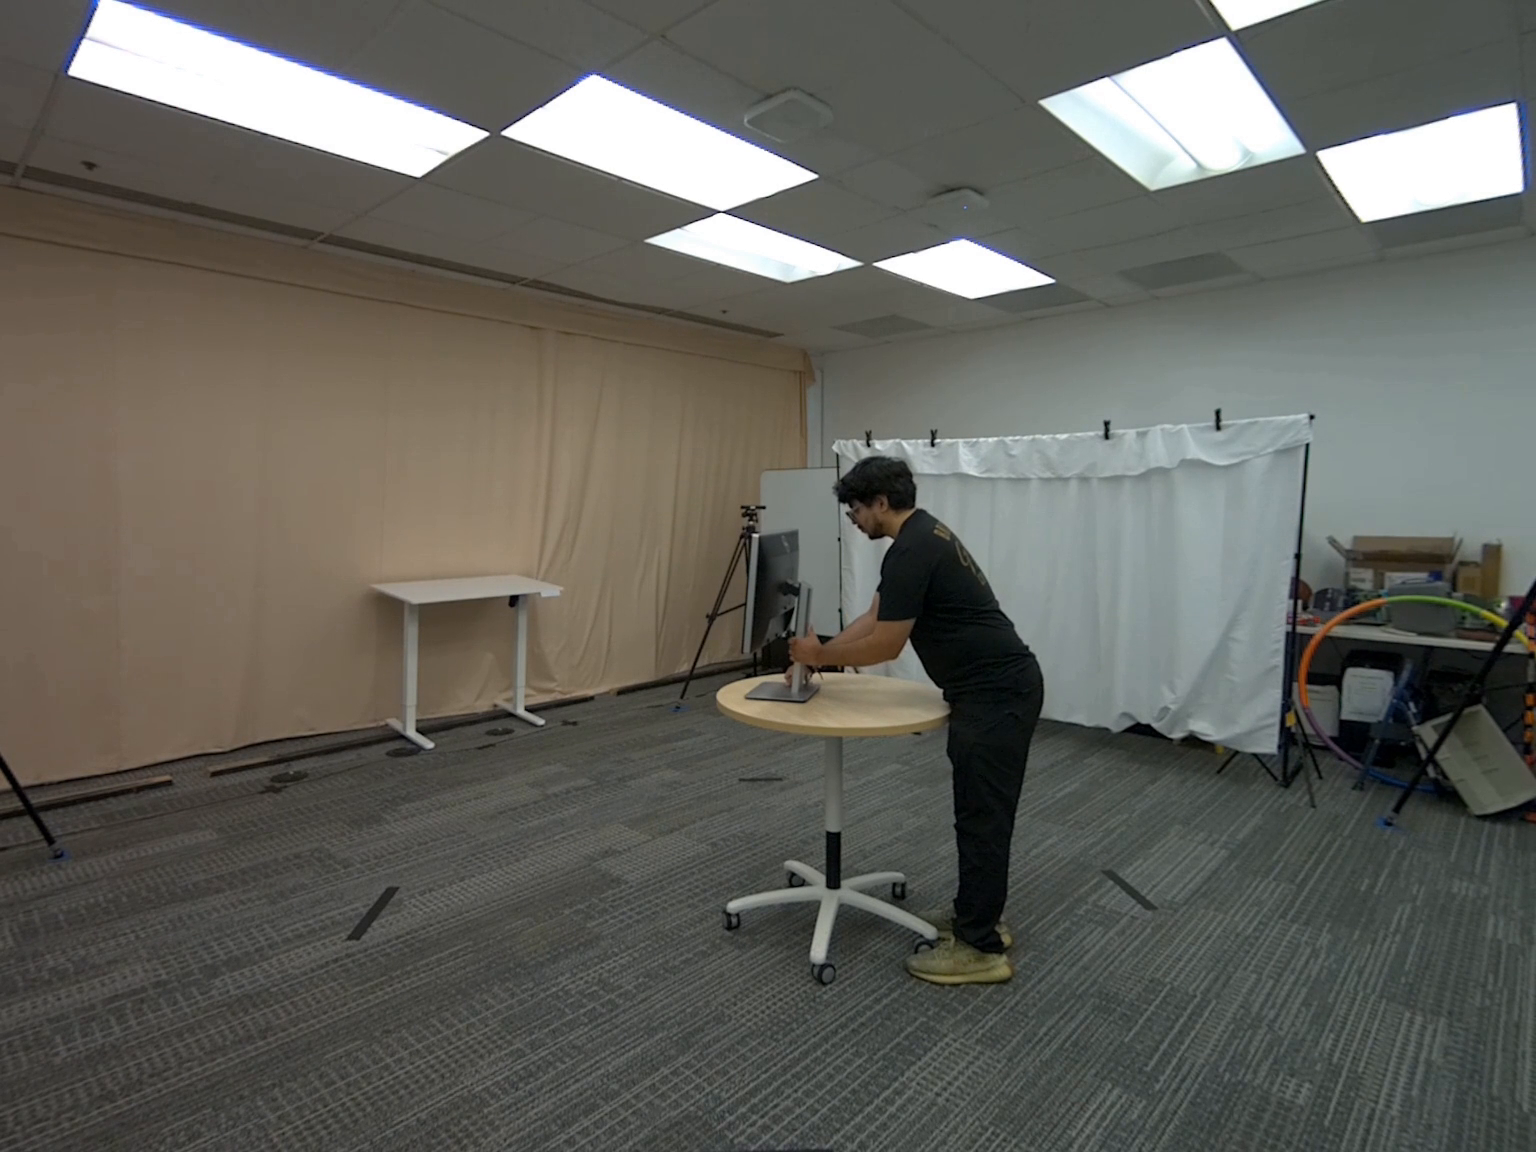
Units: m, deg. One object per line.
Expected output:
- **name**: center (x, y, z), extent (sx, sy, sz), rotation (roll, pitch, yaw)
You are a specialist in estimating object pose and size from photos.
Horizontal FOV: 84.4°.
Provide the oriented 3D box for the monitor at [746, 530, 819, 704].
- **monitor**: center (0.080, 0.128, 2.749), extent (0.214, 0.552, 0.556), rotation (3, 5, 15)
